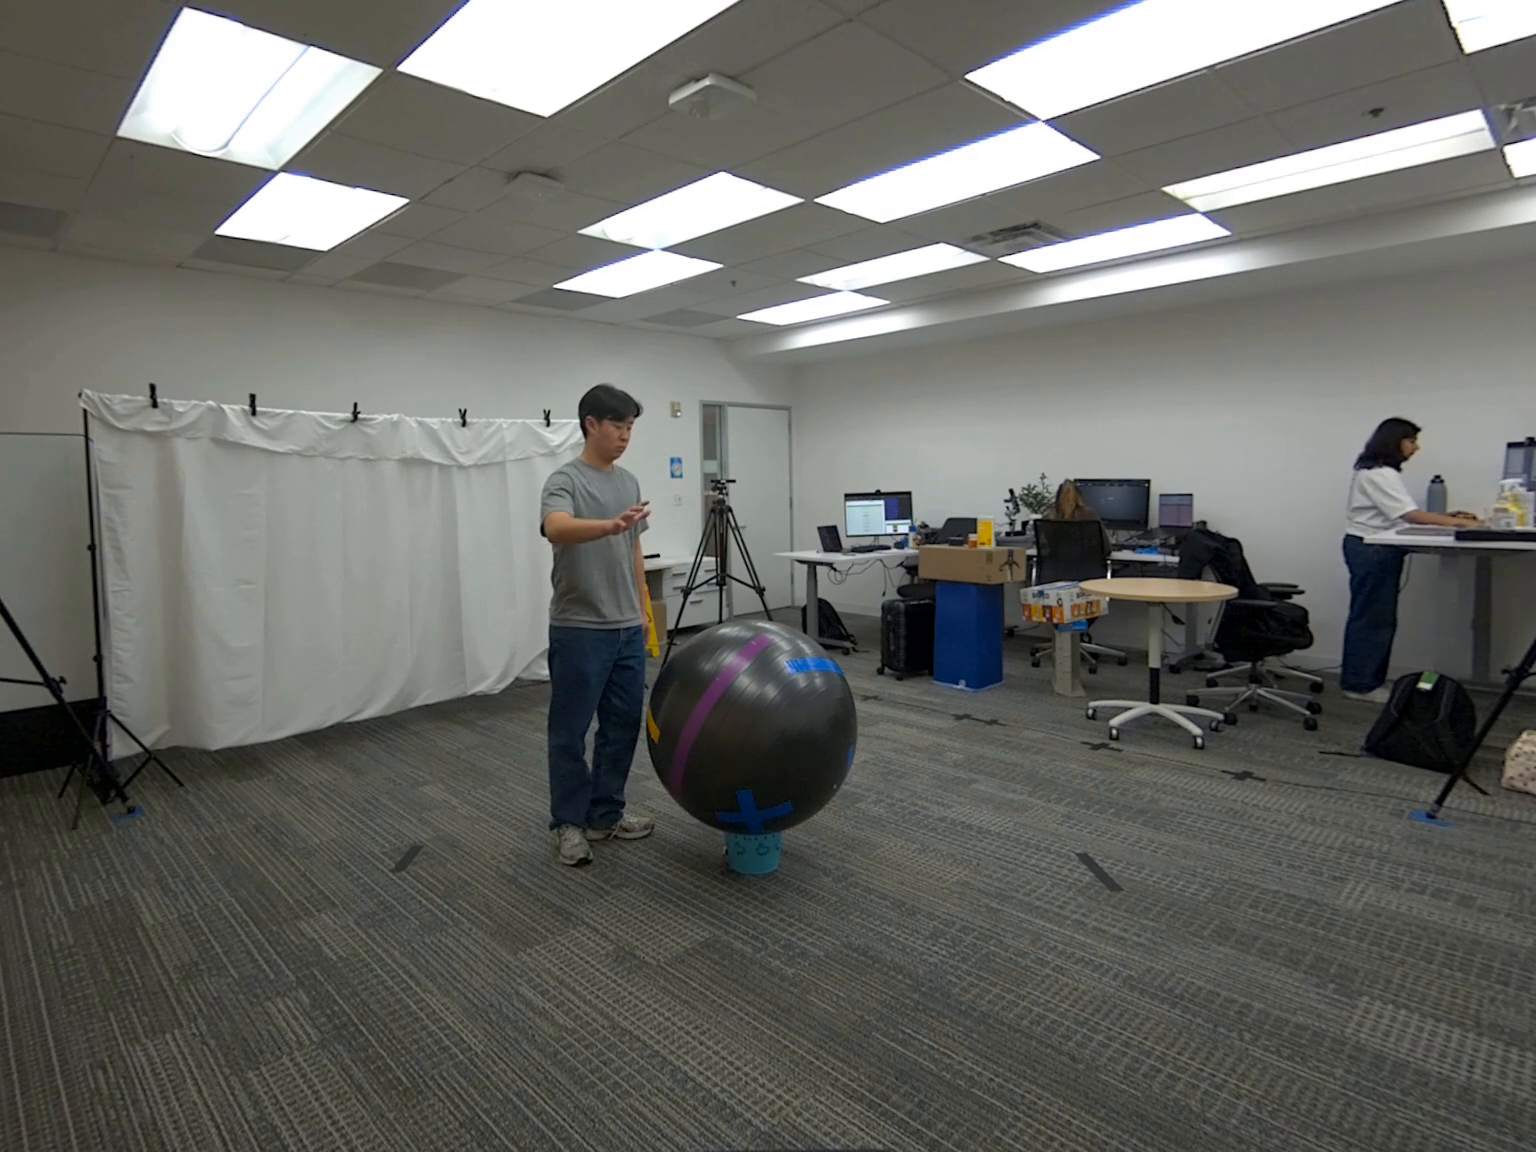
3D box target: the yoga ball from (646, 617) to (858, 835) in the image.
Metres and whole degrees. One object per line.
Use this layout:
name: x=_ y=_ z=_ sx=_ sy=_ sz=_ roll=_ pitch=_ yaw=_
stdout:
yoga ball: x=-0.060 y=0.536 z=3.087 sx=0.757 sy=0.755 sz=0.762 roll=-1 pitch=5 yaw=-2
